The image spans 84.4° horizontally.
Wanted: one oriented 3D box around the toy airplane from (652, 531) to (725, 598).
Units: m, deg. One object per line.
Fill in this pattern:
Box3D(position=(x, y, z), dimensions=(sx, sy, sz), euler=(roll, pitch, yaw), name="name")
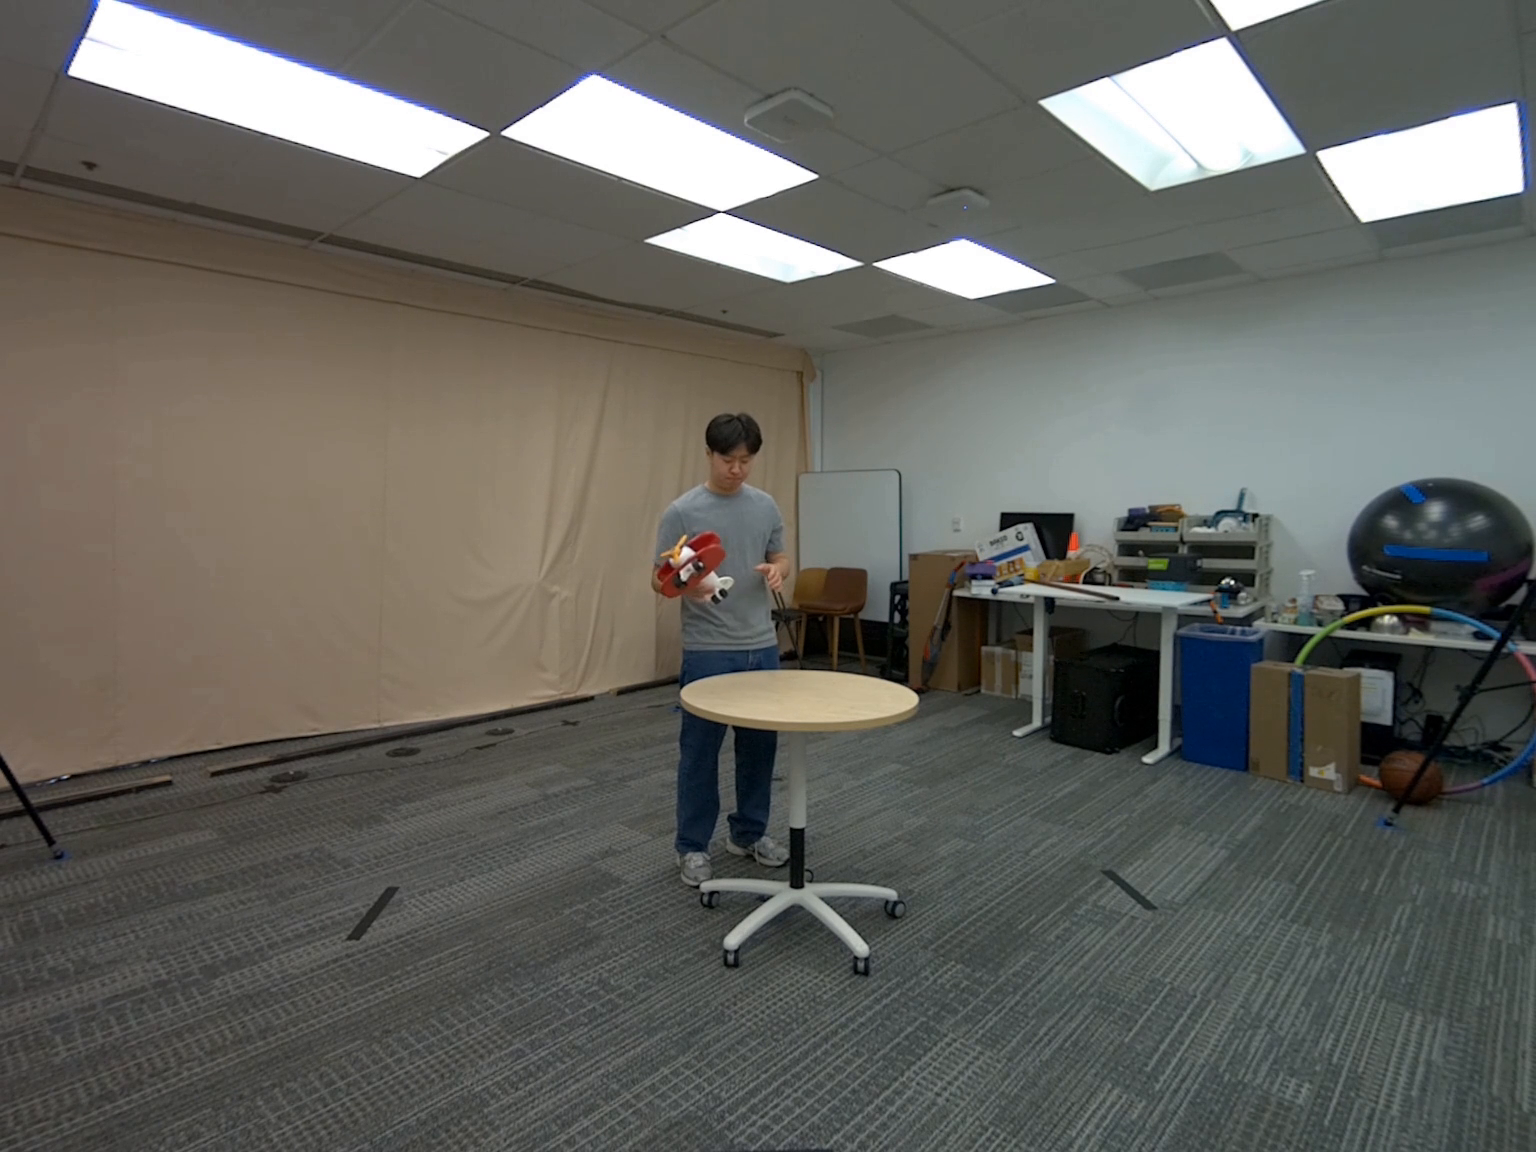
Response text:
Box3D(position=(-0.237, -0.014, 2.852), dimensions=(0.249, 0.253, 0.161), euler=(-20, 51, -10), name="toy airplane")
